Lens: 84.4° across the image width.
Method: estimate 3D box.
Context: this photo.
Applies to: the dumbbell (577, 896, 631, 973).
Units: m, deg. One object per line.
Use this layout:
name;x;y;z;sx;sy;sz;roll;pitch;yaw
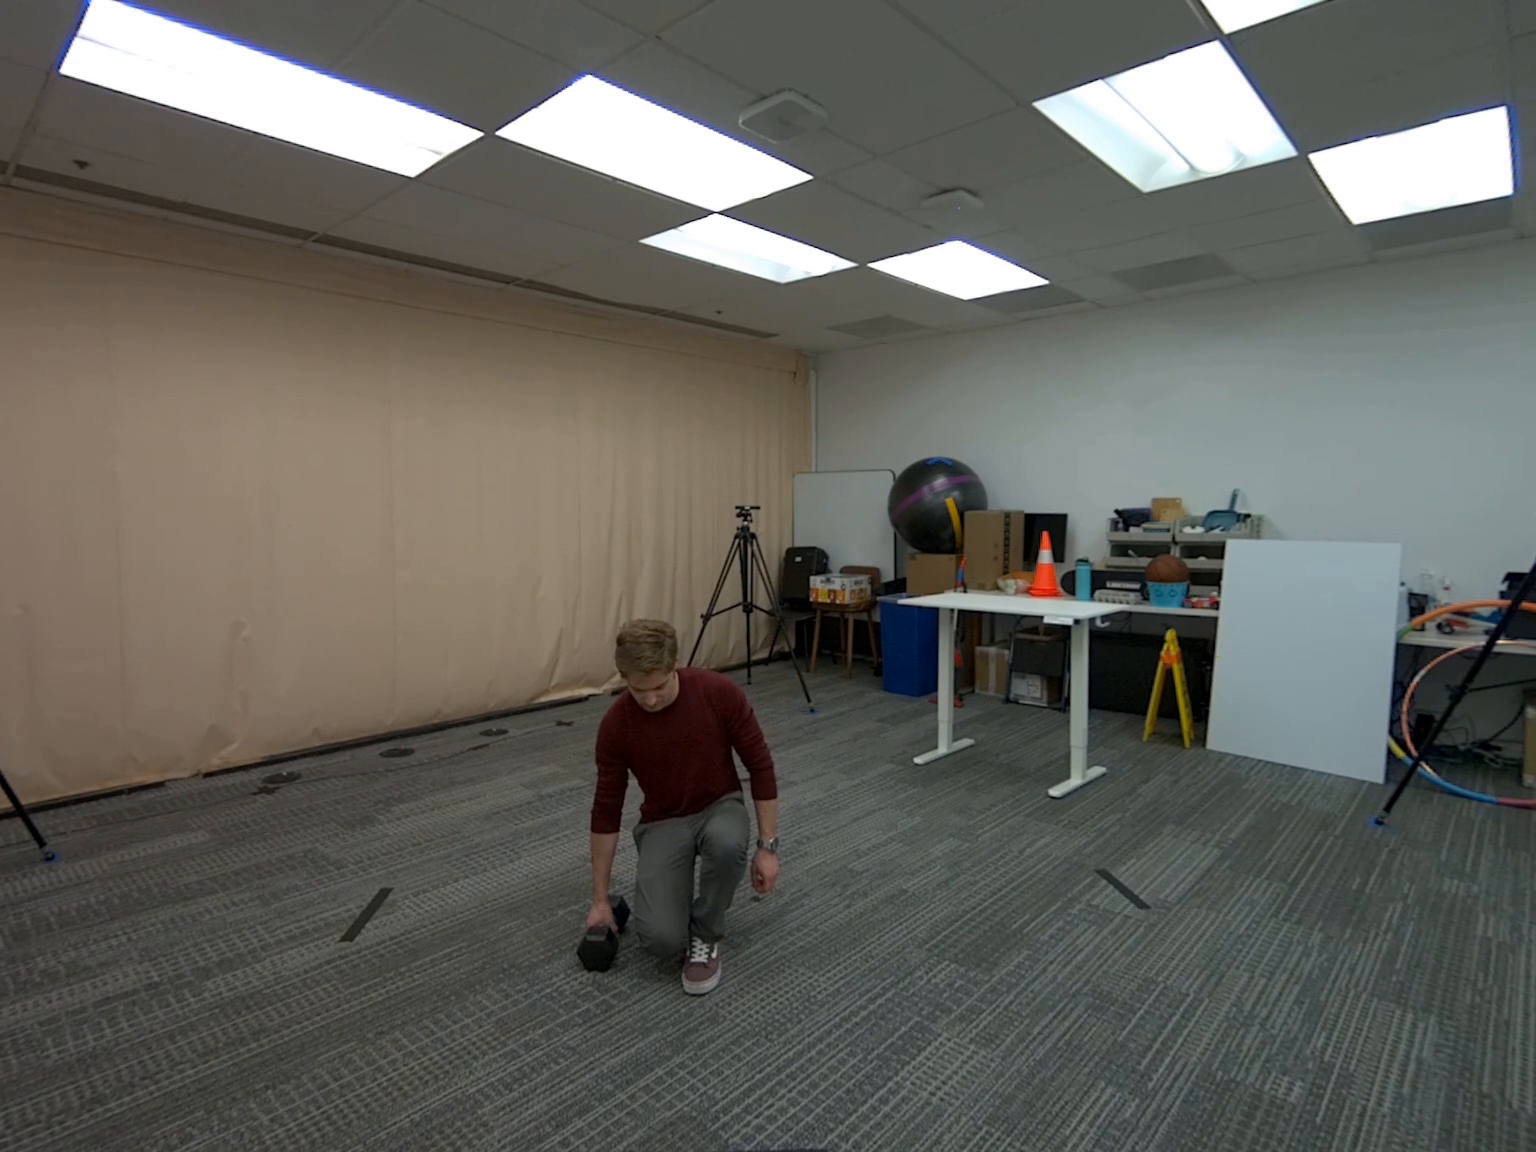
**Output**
dumbbell;-0.509;1.121;2.662;0.108;0.123;0.294;32;3;-3
